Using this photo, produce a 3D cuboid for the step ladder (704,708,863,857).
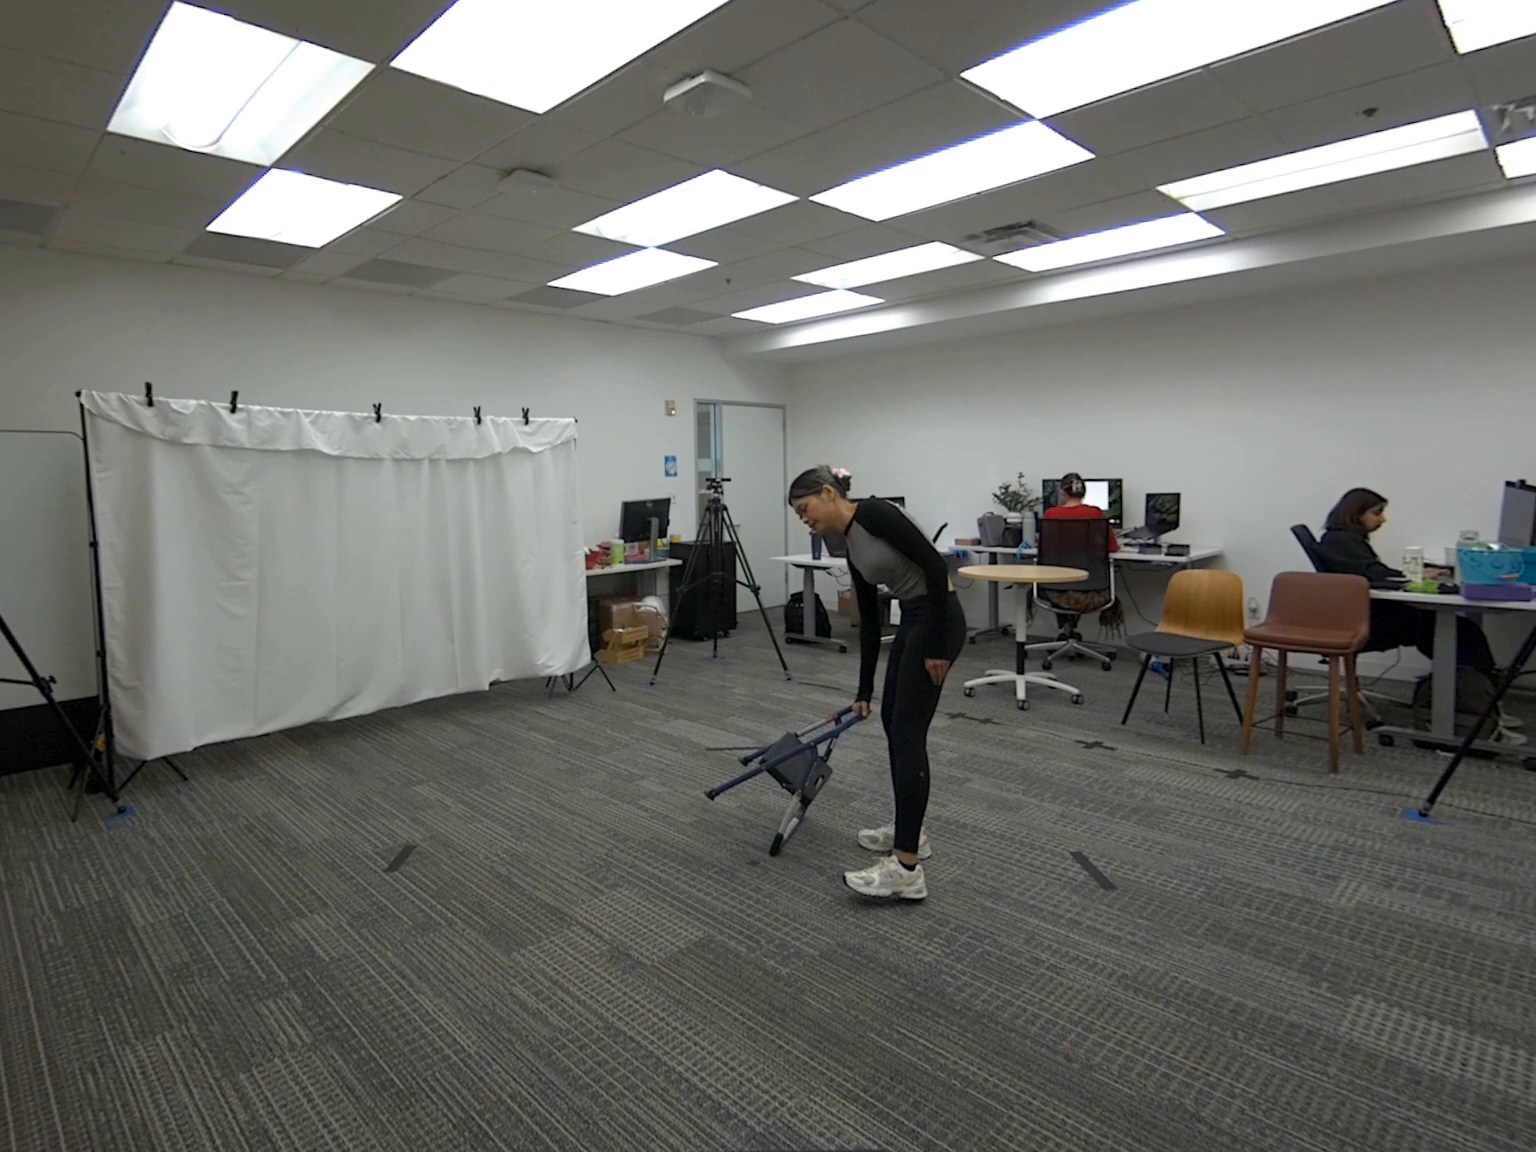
[{"bbox_3d":[0.127,0.686,3.297,0.355,0.604,0.424,41,17,11],"label":"step ladder"}]
